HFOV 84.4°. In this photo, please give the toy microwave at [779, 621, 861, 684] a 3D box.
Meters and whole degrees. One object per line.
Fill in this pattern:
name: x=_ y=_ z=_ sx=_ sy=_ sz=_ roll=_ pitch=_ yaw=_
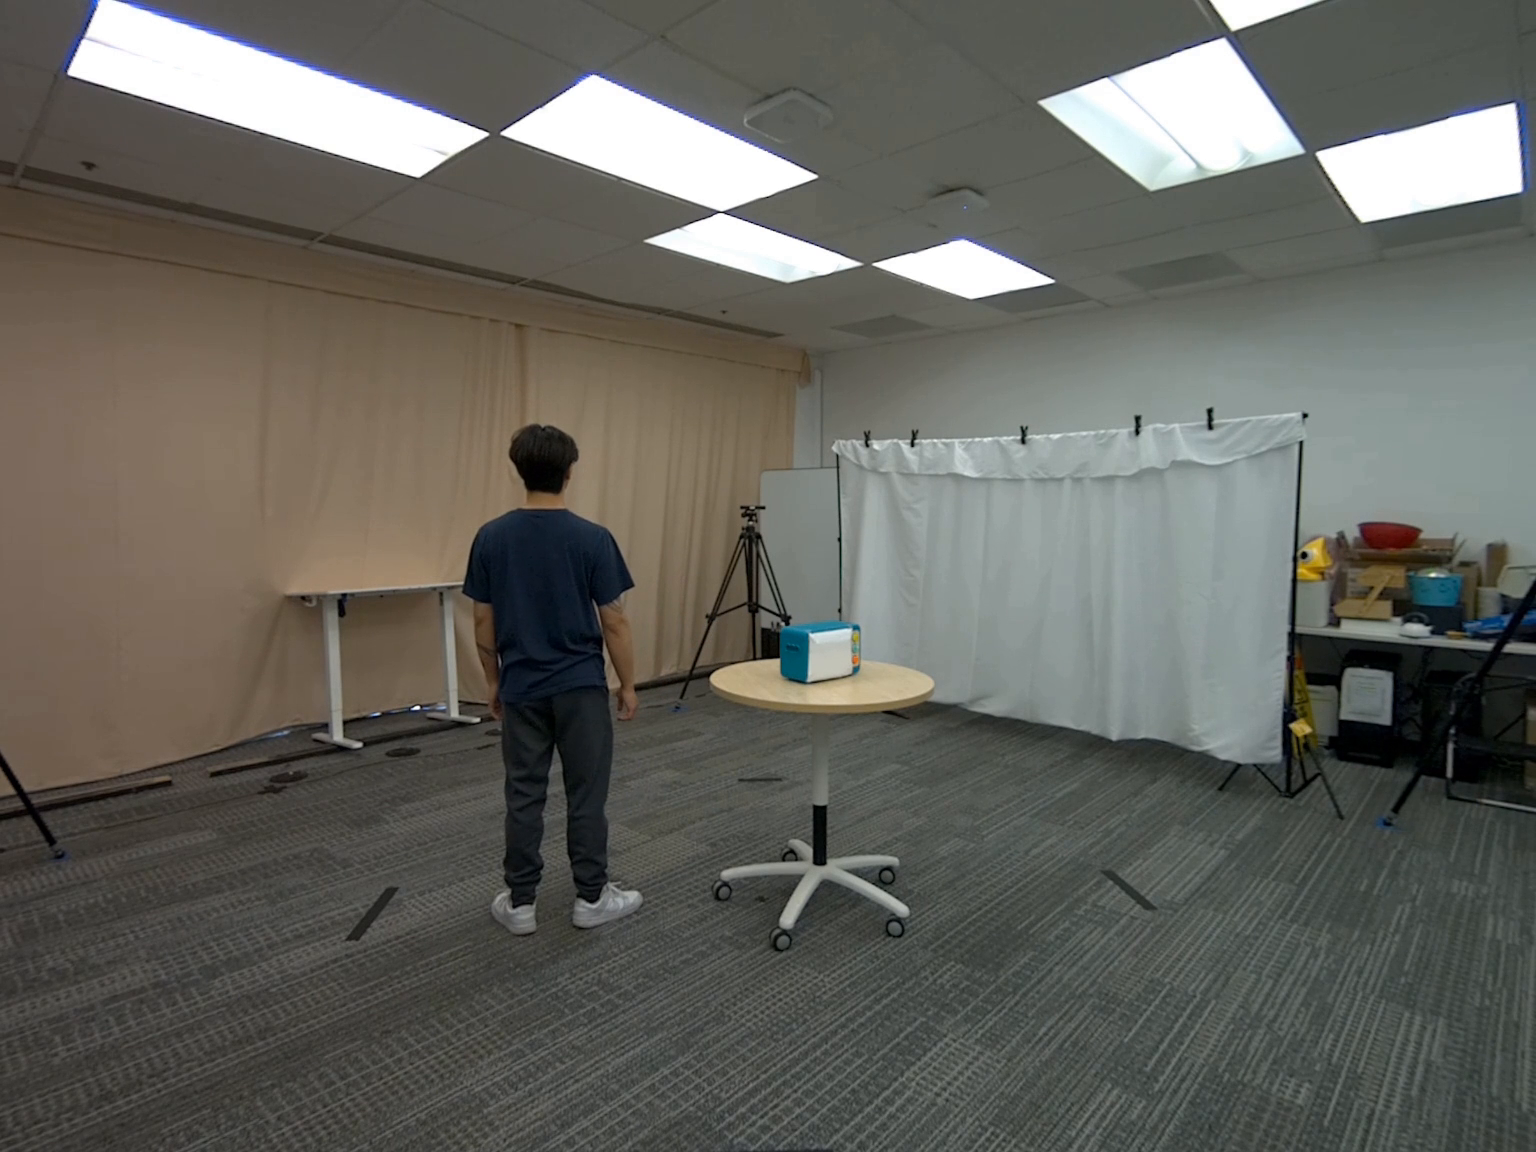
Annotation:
toy microwave: x=0.202 y=0.264 z=2.921 sx=0.277 sy=0.183 sz=0.157 roll=-4 pitch=6 yaw=-39
